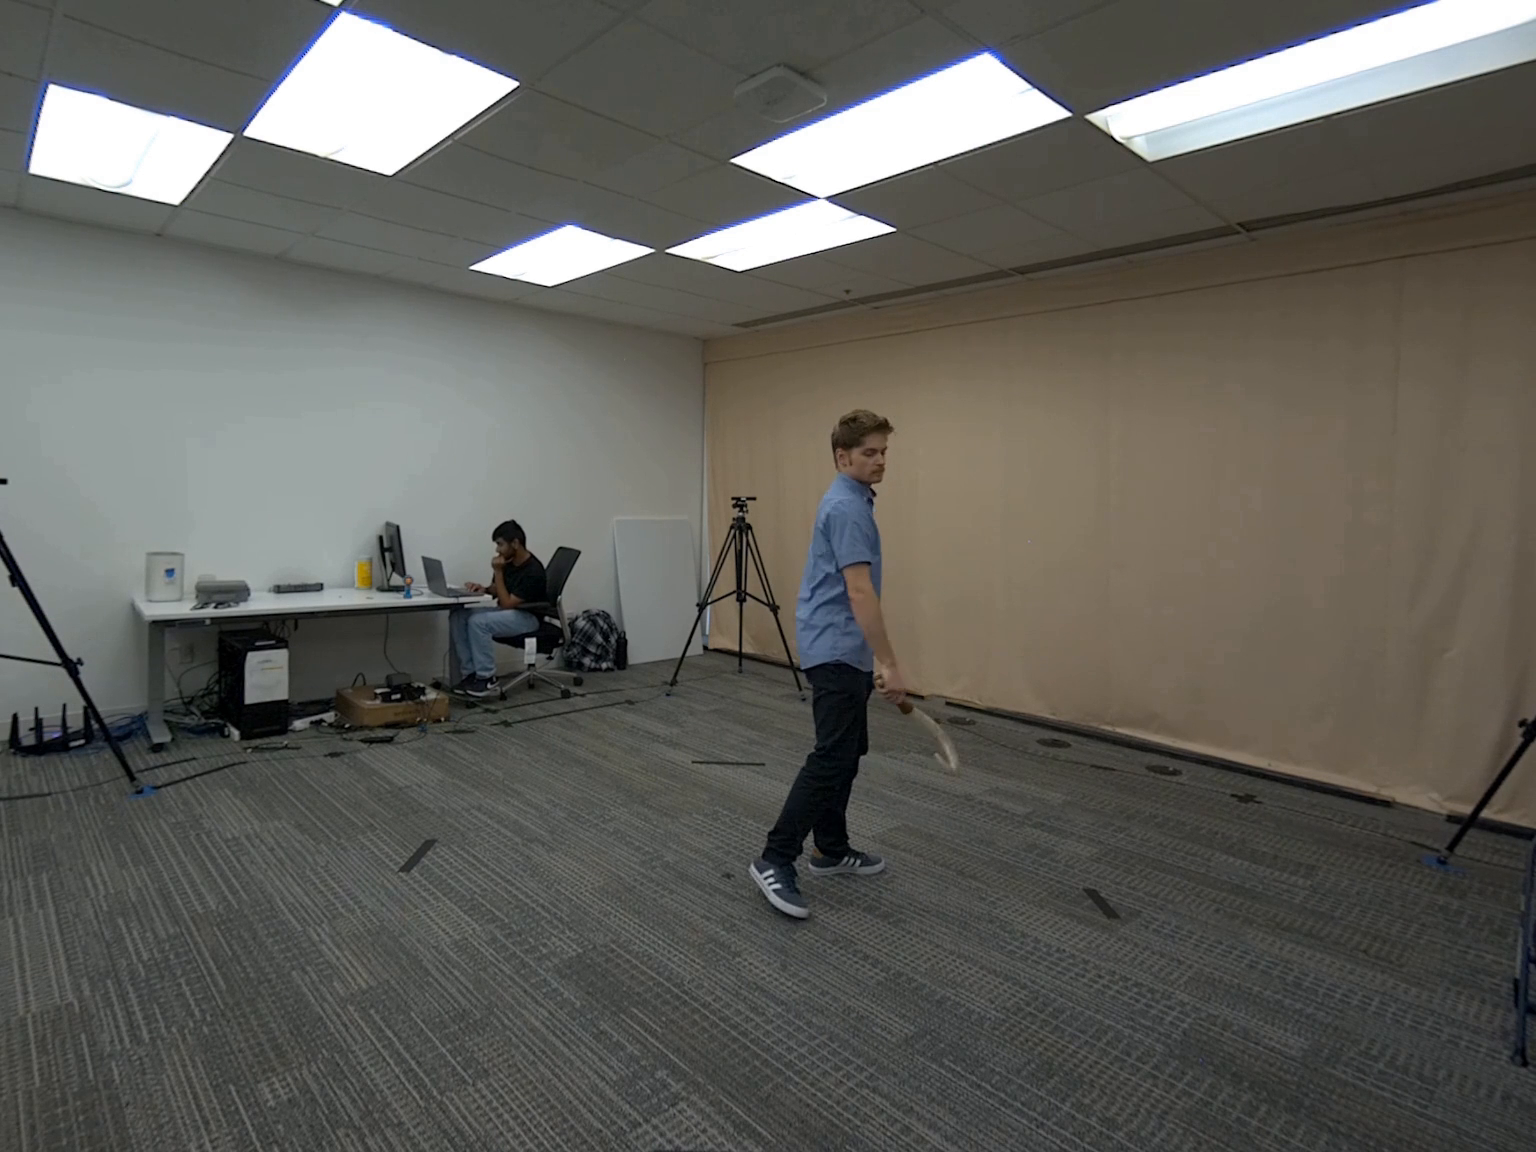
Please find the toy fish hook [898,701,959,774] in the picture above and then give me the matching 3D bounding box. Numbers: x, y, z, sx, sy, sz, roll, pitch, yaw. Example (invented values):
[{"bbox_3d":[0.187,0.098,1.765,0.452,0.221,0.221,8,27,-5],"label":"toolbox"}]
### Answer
[{"bbox_3d":[0.496,0.489,2.877,0.492,0.048,0.230,43,18,-32],"label":"toy fish hook"}]
